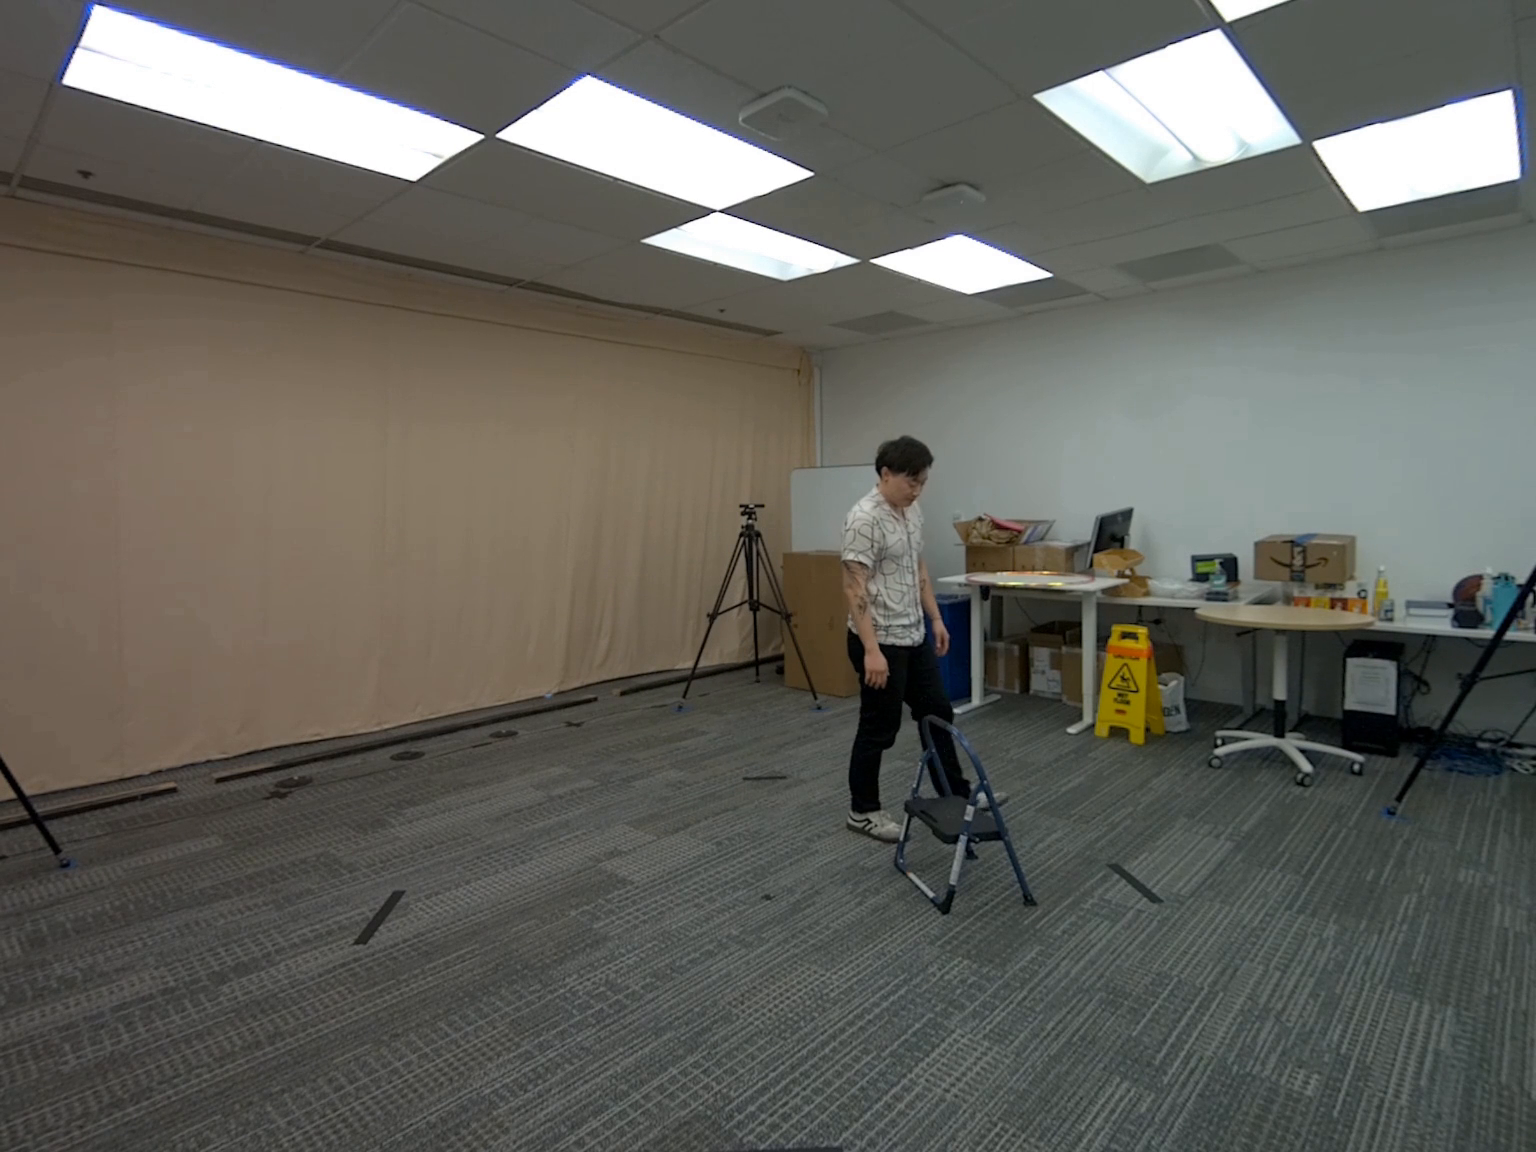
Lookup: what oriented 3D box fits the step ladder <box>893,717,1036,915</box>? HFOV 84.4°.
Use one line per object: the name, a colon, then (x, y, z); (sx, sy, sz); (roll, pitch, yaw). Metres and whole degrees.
step ladder: (0.701, 0.821, 3.050); (0.344, 0.605, 0.438); (-2, 4, -15)
